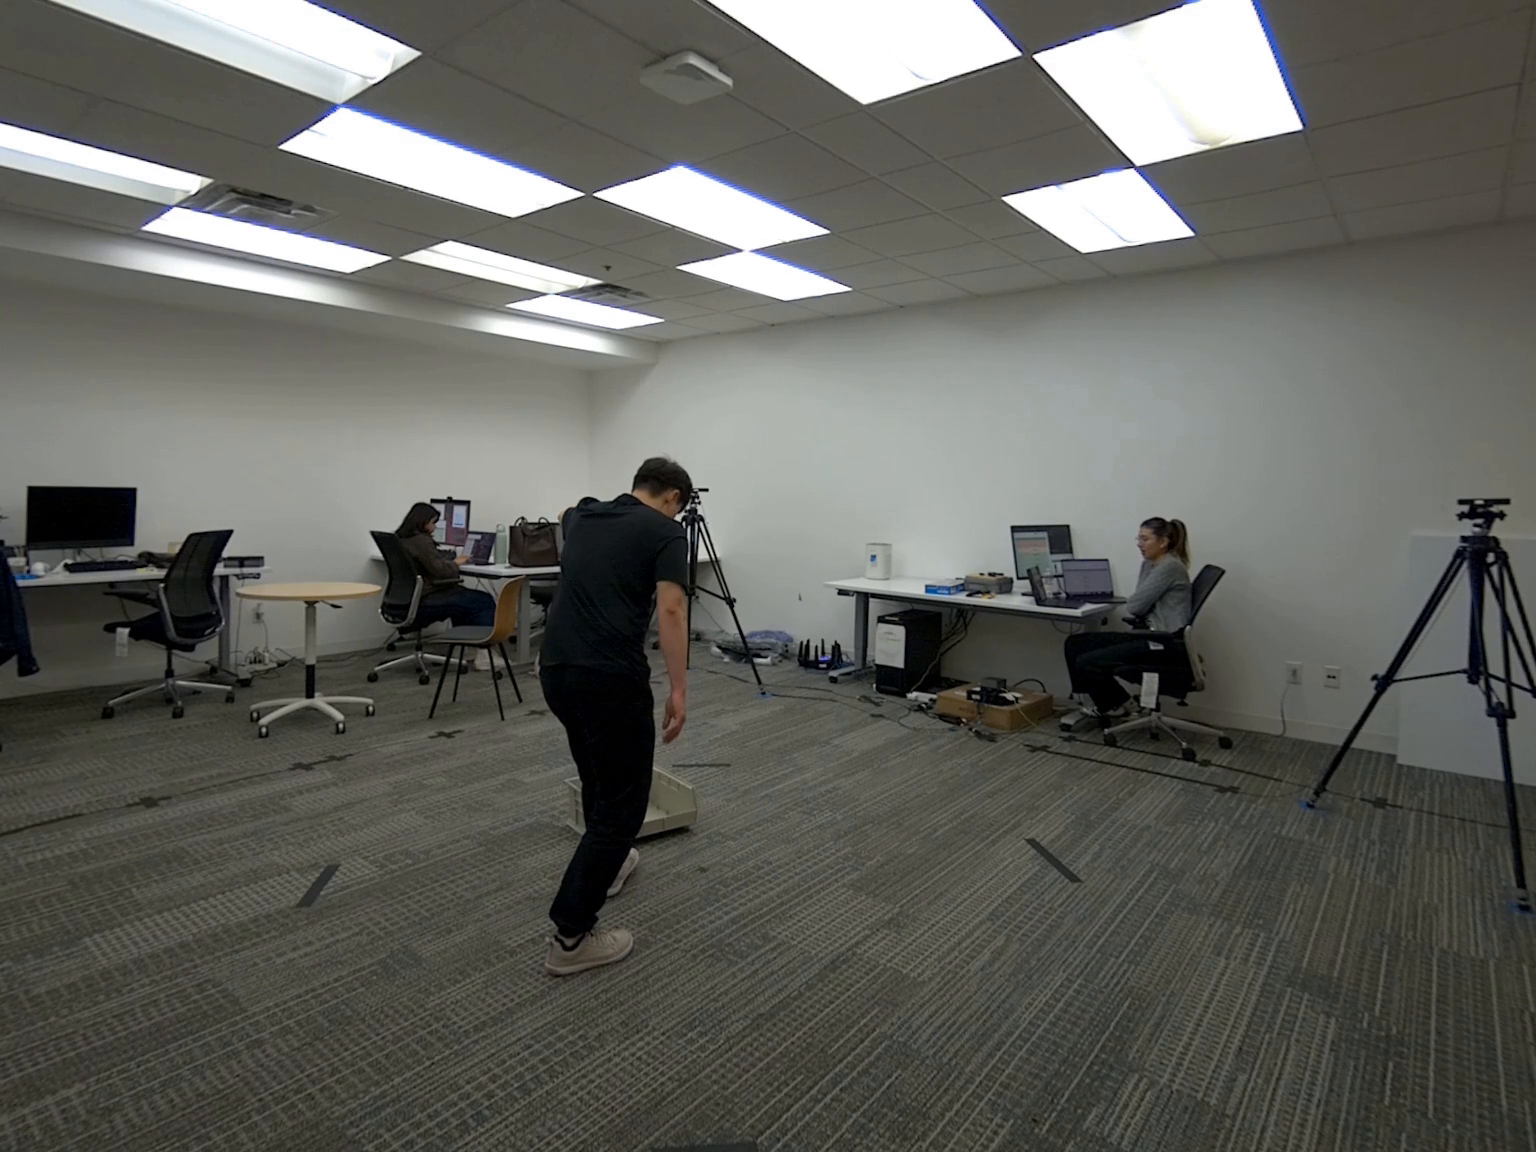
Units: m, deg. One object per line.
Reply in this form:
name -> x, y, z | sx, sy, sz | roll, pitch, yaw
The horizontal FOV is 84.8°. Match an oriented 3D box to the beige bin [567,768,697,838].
beige bin -> -0.575, 0.940, 3.487 | 0.410, 0.188, 0.390 | -4, 6, -37
